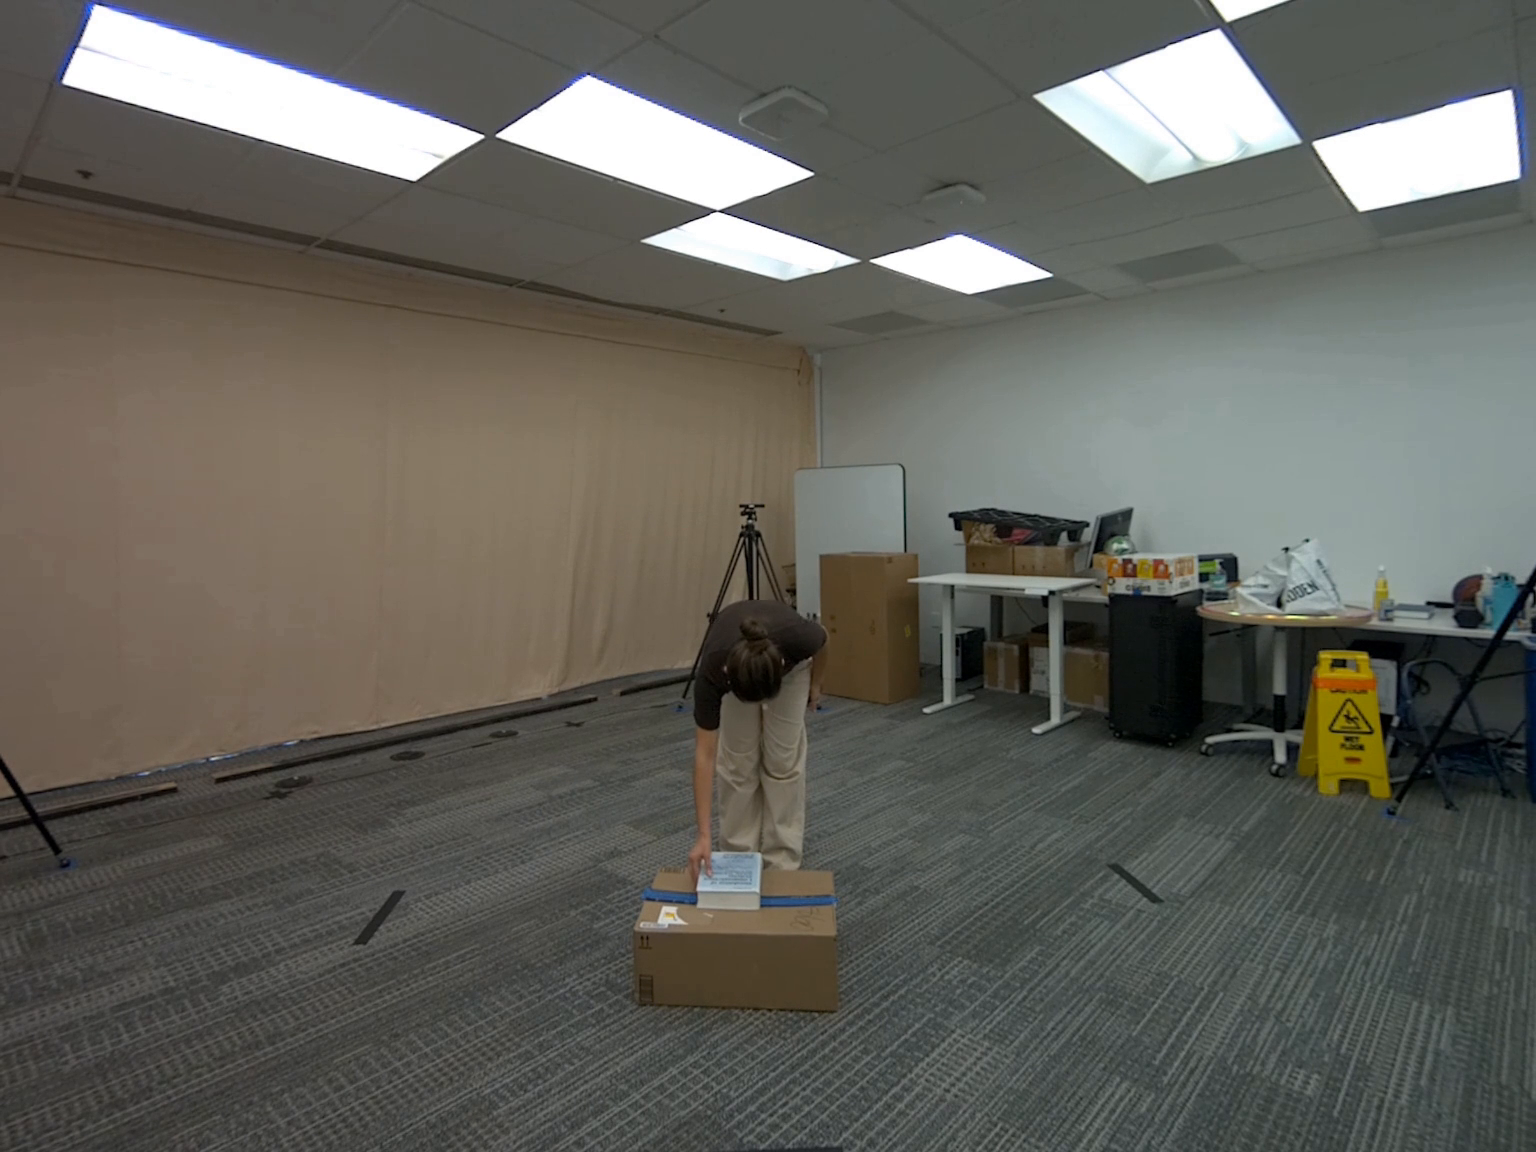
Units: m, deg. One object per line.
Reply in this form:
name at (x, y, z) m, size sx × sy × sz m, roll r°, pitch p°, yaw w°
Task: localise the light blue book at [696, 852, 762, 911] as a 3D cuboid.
light blue book at (-0.105, 0.933, 2.597) m, size 0.192 × 0.059 × 0.261 m, roll -1°, pitch 6°, yaw 3°
